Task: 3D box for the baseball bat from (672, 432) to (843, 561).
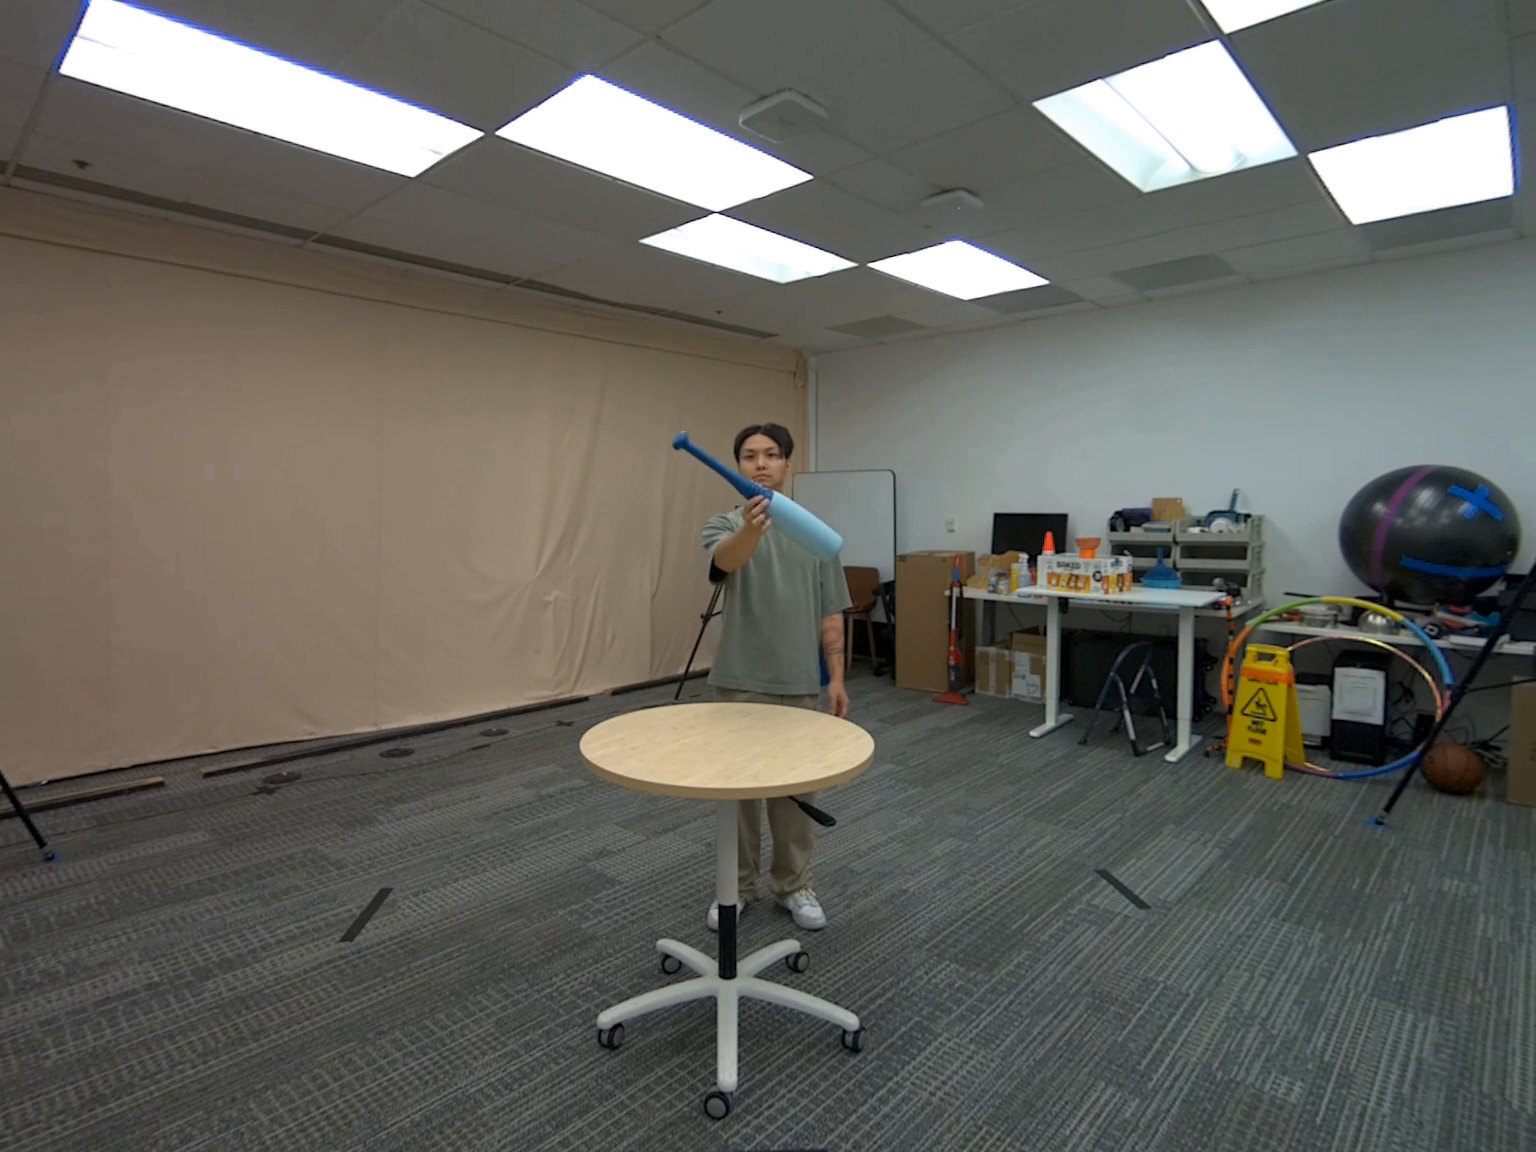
[{"bbox_3d":[-0.033,-0.213,2.189,0.530,0.089,0.091,34,-10,-21],"label":"baseball bat"}]
